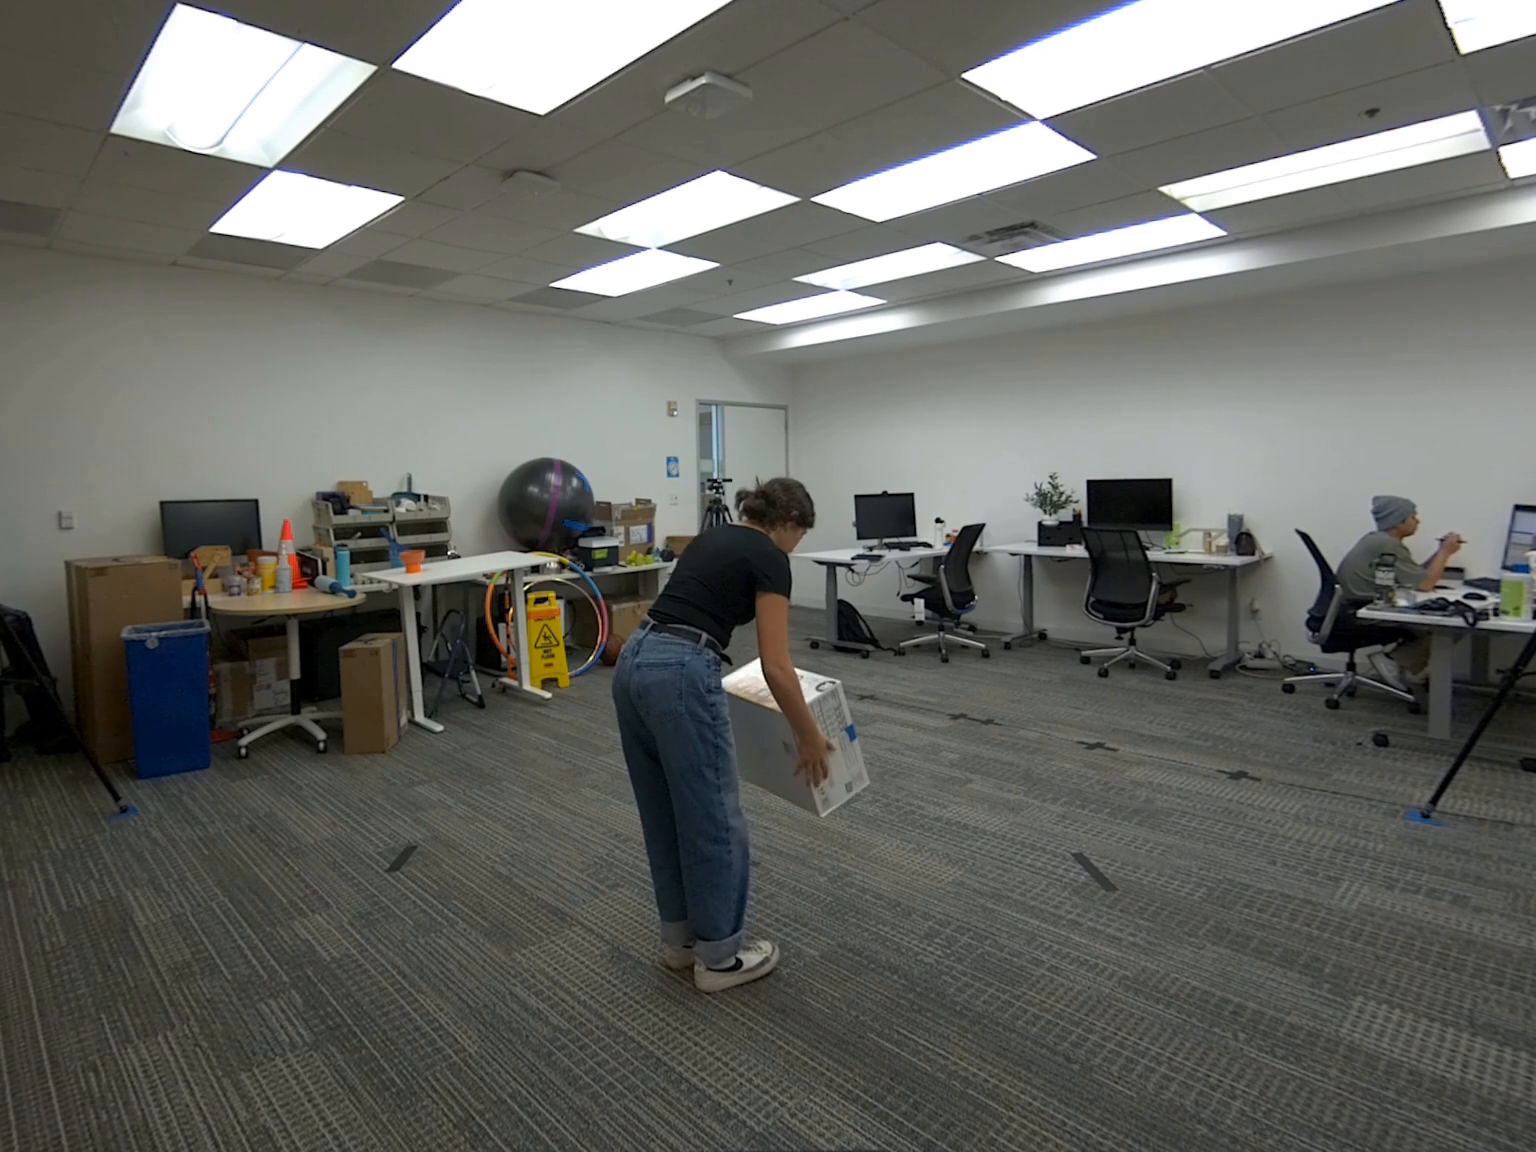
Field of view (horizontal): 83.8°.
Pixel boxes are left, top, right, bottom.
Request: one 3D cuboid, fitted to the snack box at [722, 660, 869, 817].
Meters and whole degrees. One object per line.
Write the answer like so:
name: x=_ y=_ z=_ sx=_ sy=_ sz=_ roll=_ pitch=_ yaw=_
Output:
snack box: x=0.066 y=0.481 z=2.598 sx=0.203 sy=0.335 sz=0.417 roll=-26 pitch=18 yaw=-31
